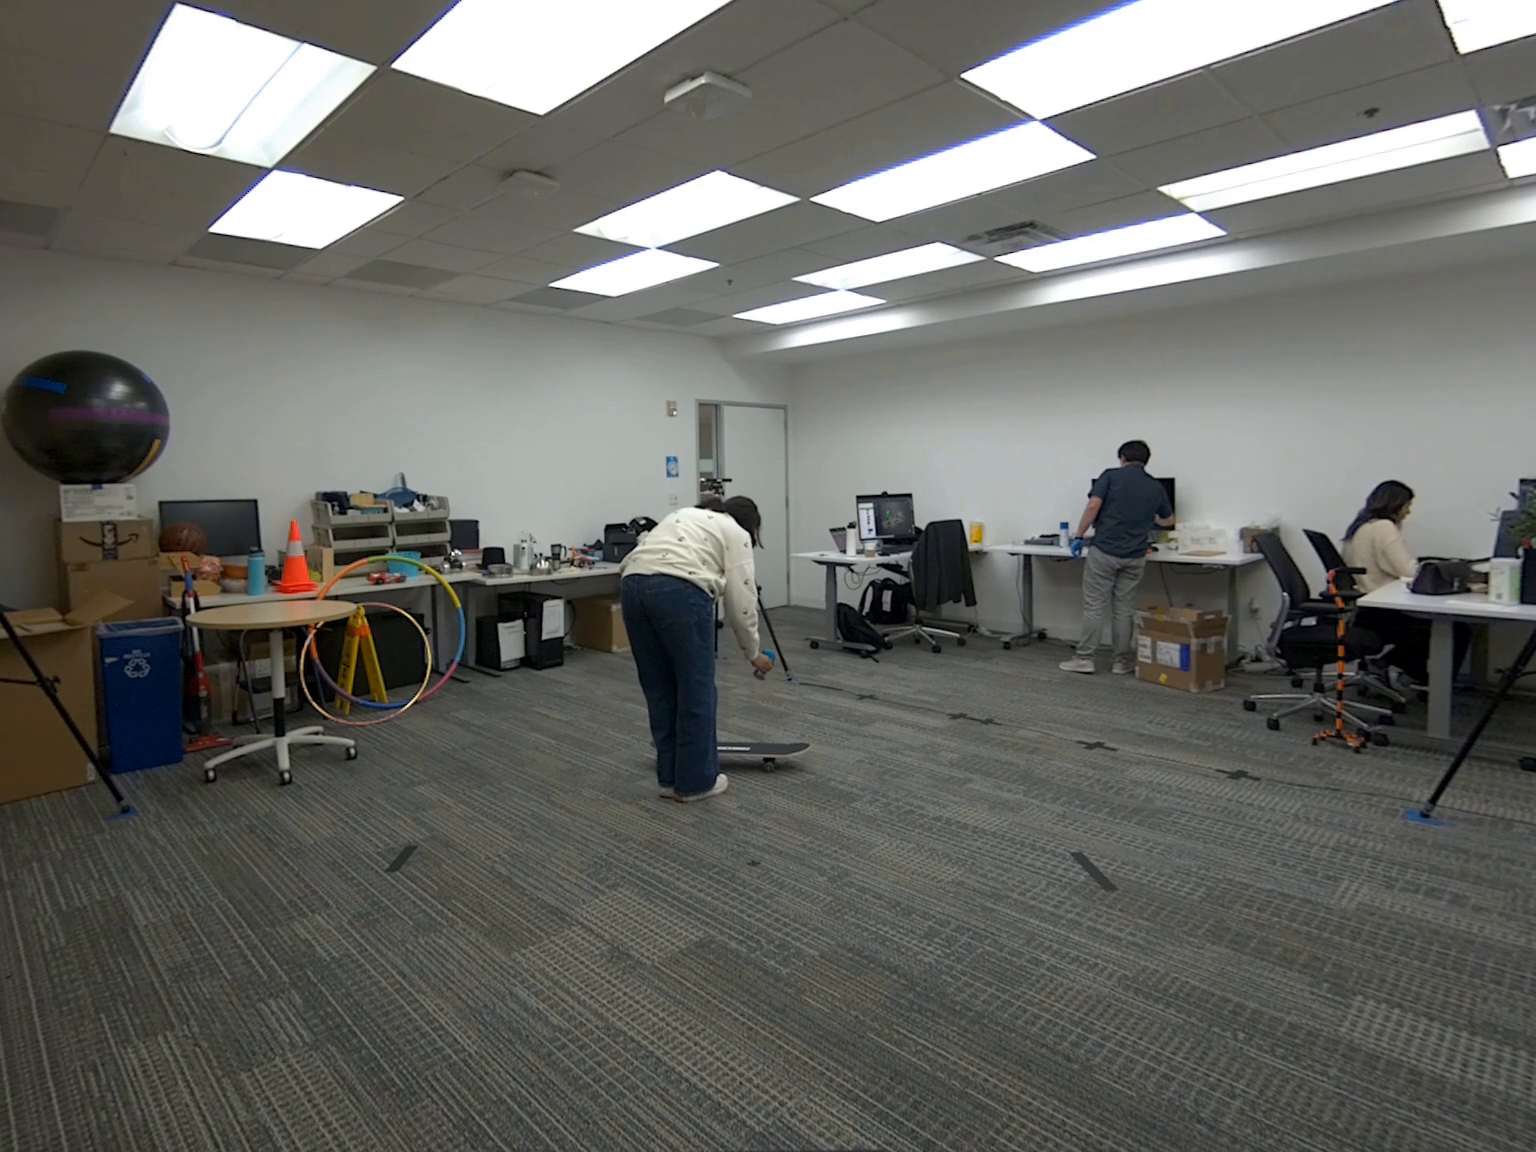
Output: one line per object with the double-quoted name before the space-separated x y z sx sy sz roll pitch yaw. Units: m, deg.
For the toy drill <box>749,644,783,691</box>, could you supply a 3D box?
"toy drill" -0.010 0.426 4.016 0.063 0.147 0.163 12 -26 26
